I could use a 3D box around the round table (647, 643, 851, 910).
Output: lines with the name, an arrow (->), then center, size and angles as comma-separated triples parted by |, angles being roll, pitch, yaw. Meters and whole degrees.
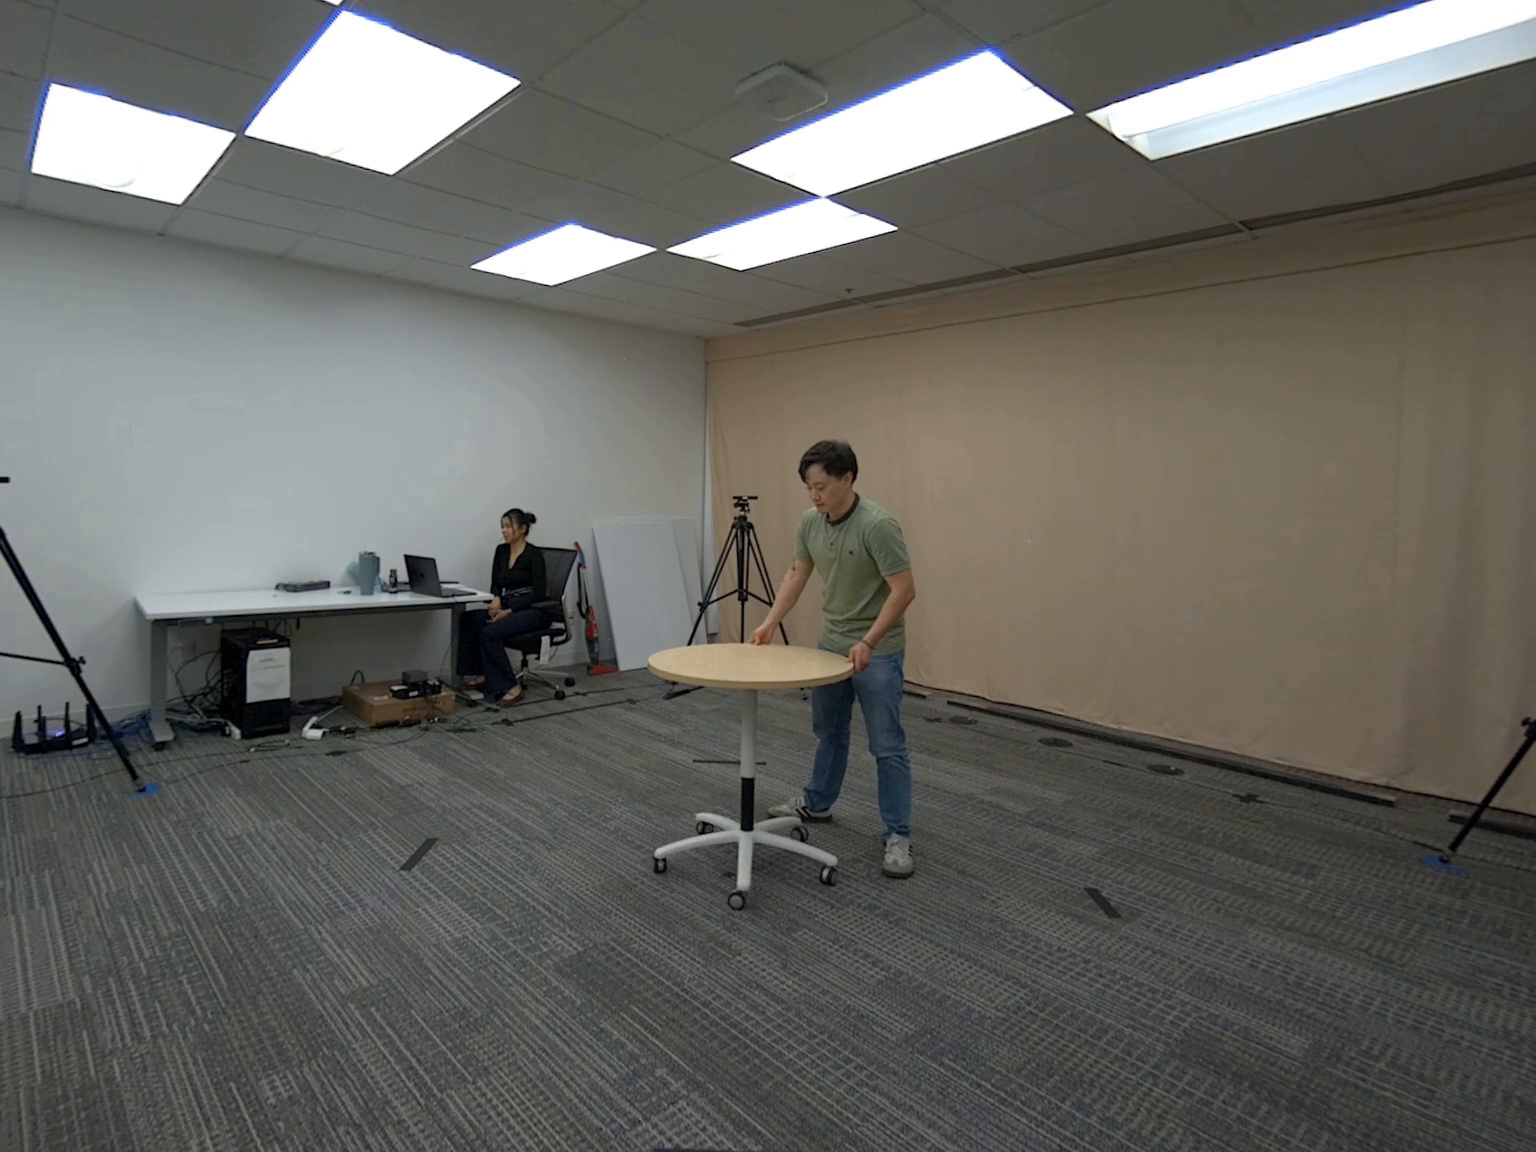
round table -> -0.084, 0.708, 3.163 | 0.763, 0.792, 0.766 | 2, 3, -1
